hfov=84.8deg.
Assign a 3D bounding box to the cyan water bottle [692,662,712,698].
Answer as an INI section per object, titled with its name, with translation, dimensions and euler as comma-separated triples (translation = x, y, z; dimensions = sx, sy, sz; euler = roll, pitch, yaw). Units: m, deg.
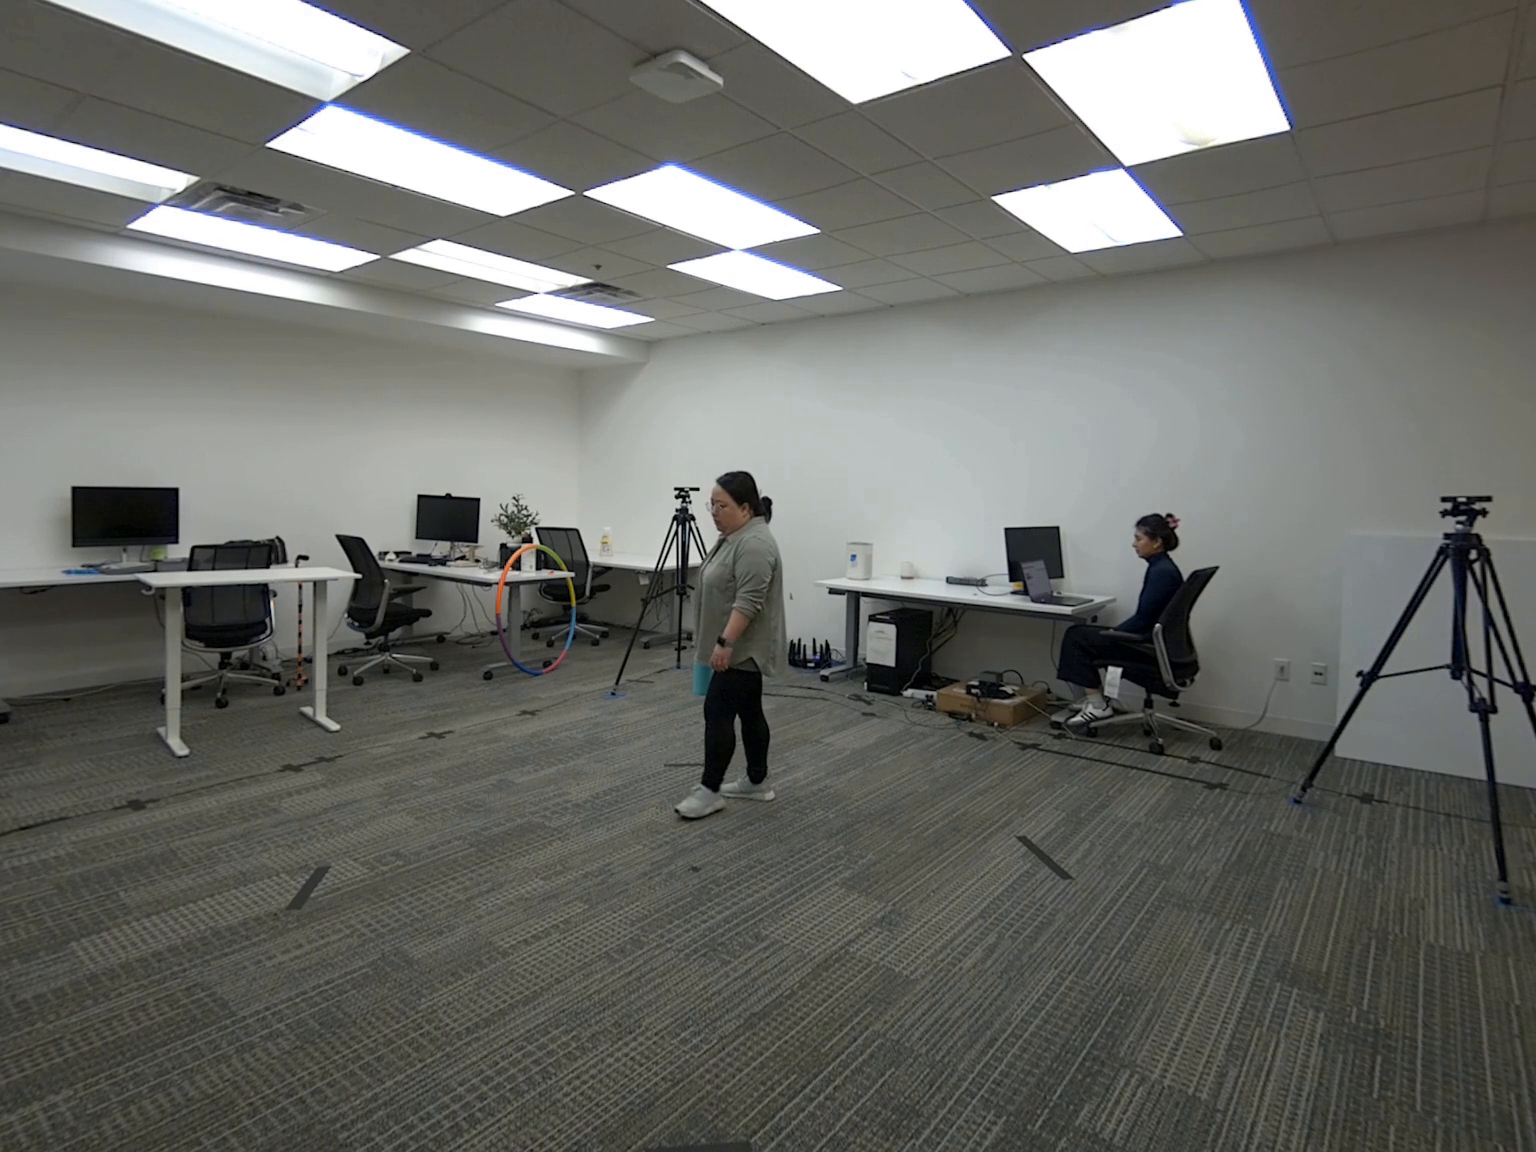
[cyan water bottle]
translation = -0.318, 0.427, 4.050
dimensions = 0.092, 0.284, 0.092
euler = -1, -1, -2
